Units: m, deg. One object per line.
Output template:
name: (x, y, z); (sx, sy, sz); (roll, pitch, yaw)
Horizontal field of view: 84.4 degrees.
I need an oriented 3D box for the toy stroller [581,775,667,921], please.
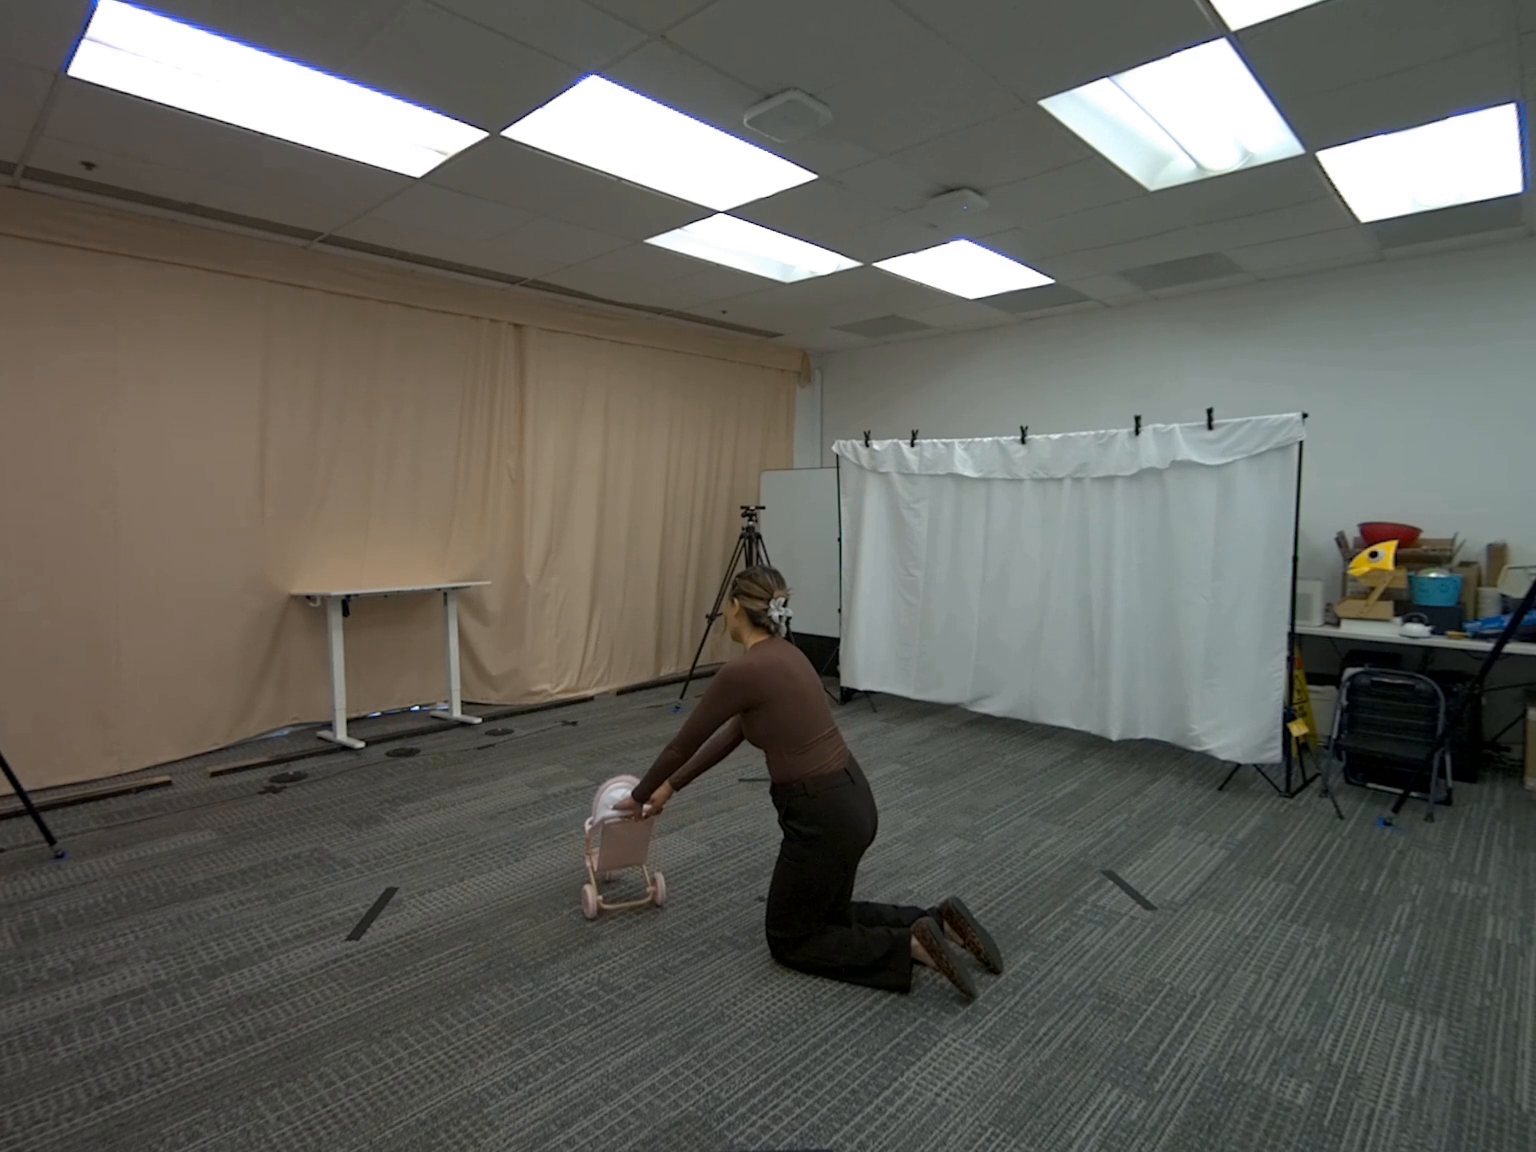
toy stroller: (-0.513, 0.928, 2.943); (0.276, 0.530, 0.351); (-1, 21, -21)
